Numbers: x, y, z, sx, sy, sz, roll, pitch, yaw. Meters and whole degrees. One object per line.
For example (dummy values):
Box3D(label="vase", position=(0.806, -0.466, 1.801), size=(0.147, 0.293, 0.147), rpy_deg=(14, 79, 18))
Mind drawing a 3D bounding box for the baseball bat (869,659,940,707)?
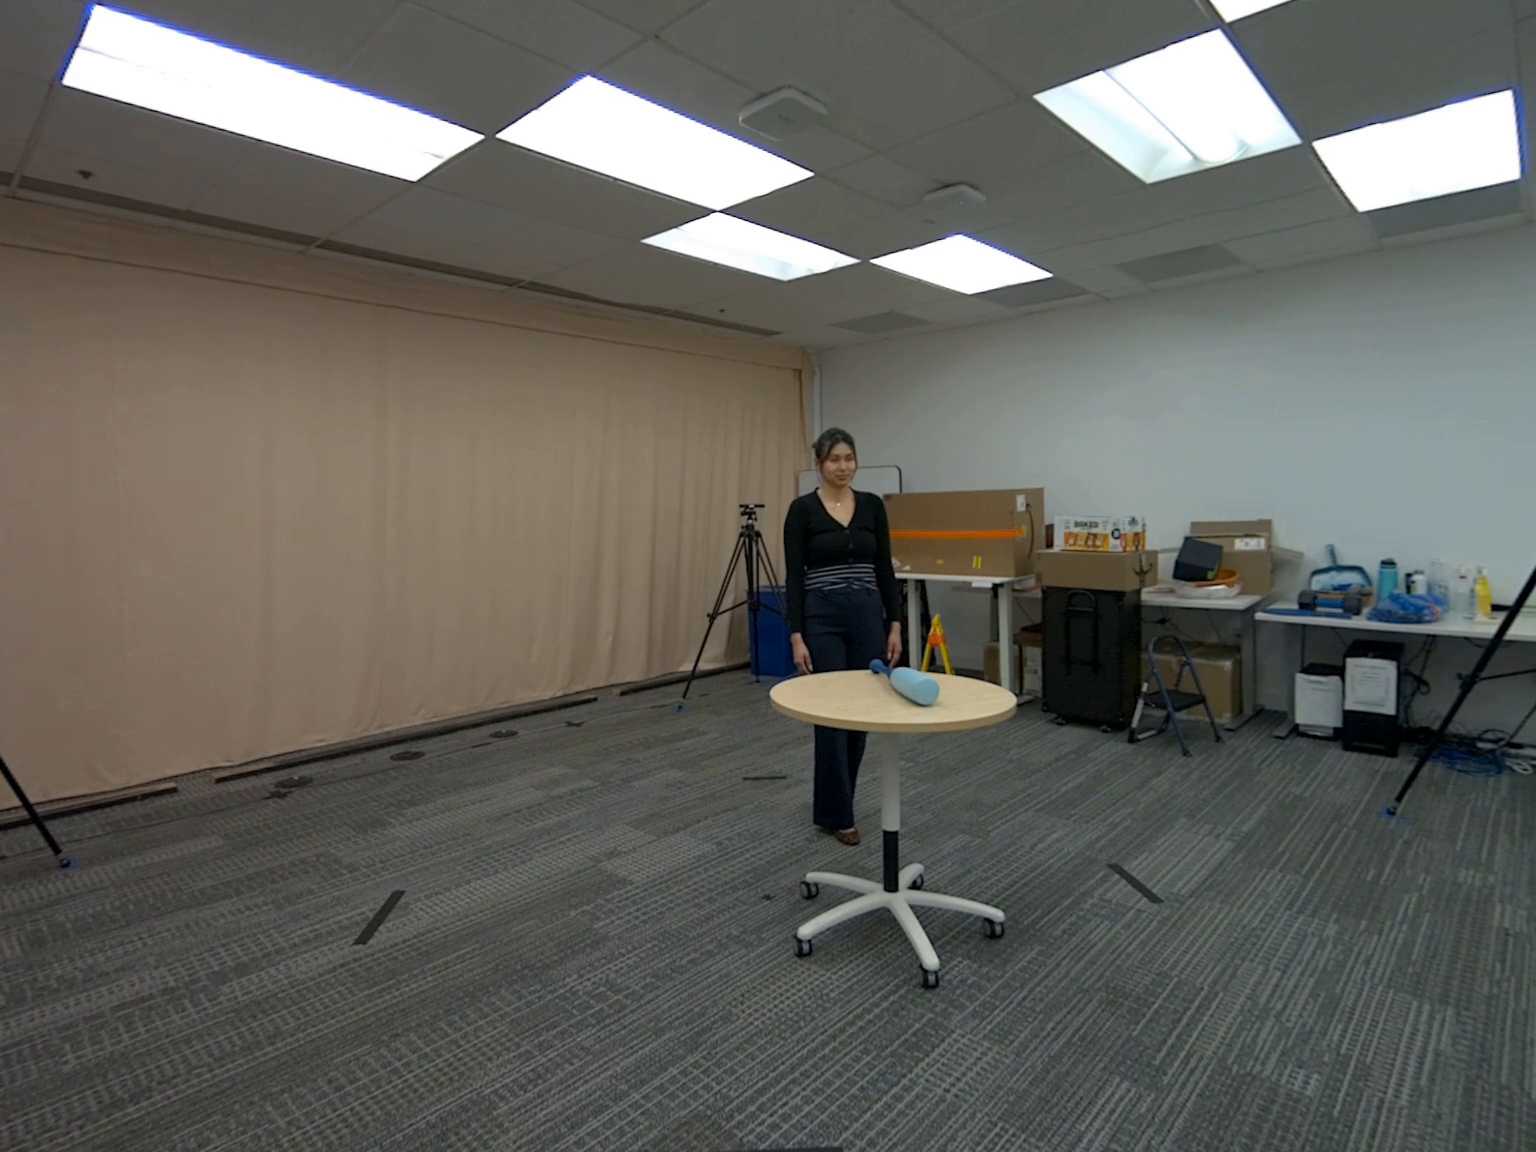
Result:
Box3D(label="baseball bat", position=(0.431, 0.330, 2.751), size=(0.088, 0.089, 0.547), rpy_deg=(-1, 2, -8))
